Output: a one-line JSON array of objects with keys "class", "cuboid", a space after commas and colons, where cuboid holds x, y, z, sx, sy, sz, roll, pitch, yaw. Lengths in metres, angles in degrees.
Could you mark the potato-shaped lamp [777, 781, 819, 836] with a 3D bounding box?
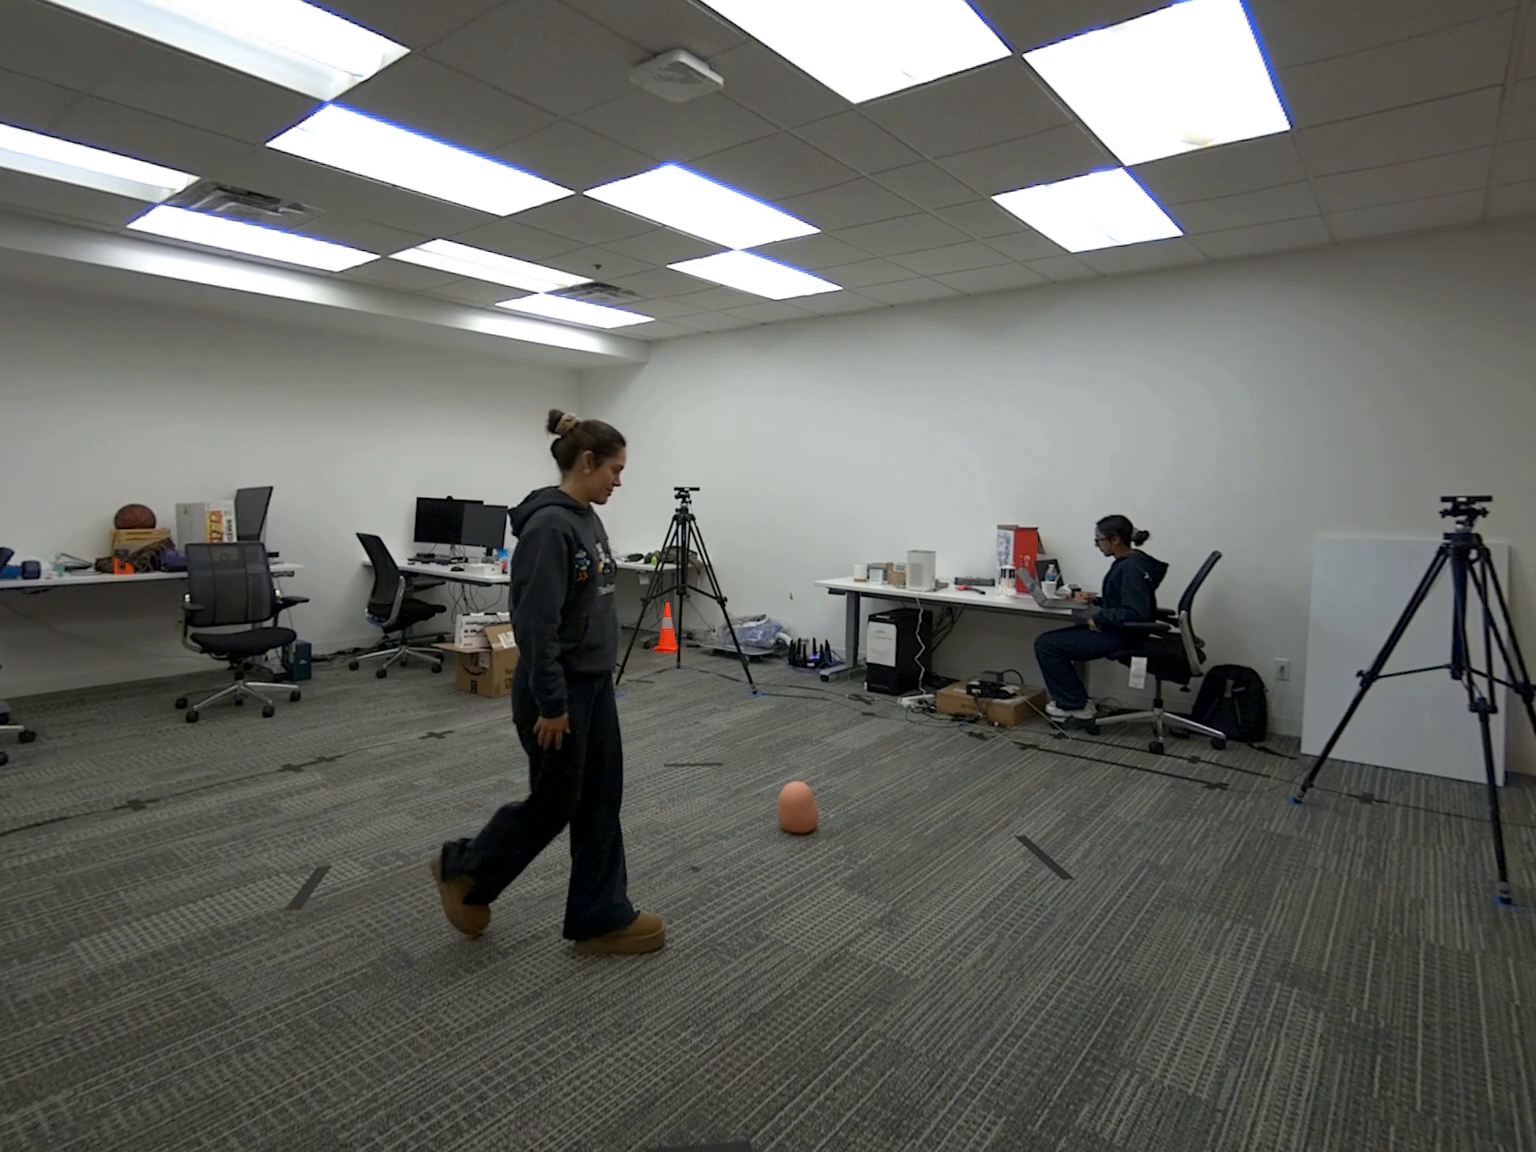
[{"class": "potato-shaped lamp", "cuboid": [0.121, 0.937, 3.482, 0.170, 0.197, 0.166, 5, 6, 41]}]
